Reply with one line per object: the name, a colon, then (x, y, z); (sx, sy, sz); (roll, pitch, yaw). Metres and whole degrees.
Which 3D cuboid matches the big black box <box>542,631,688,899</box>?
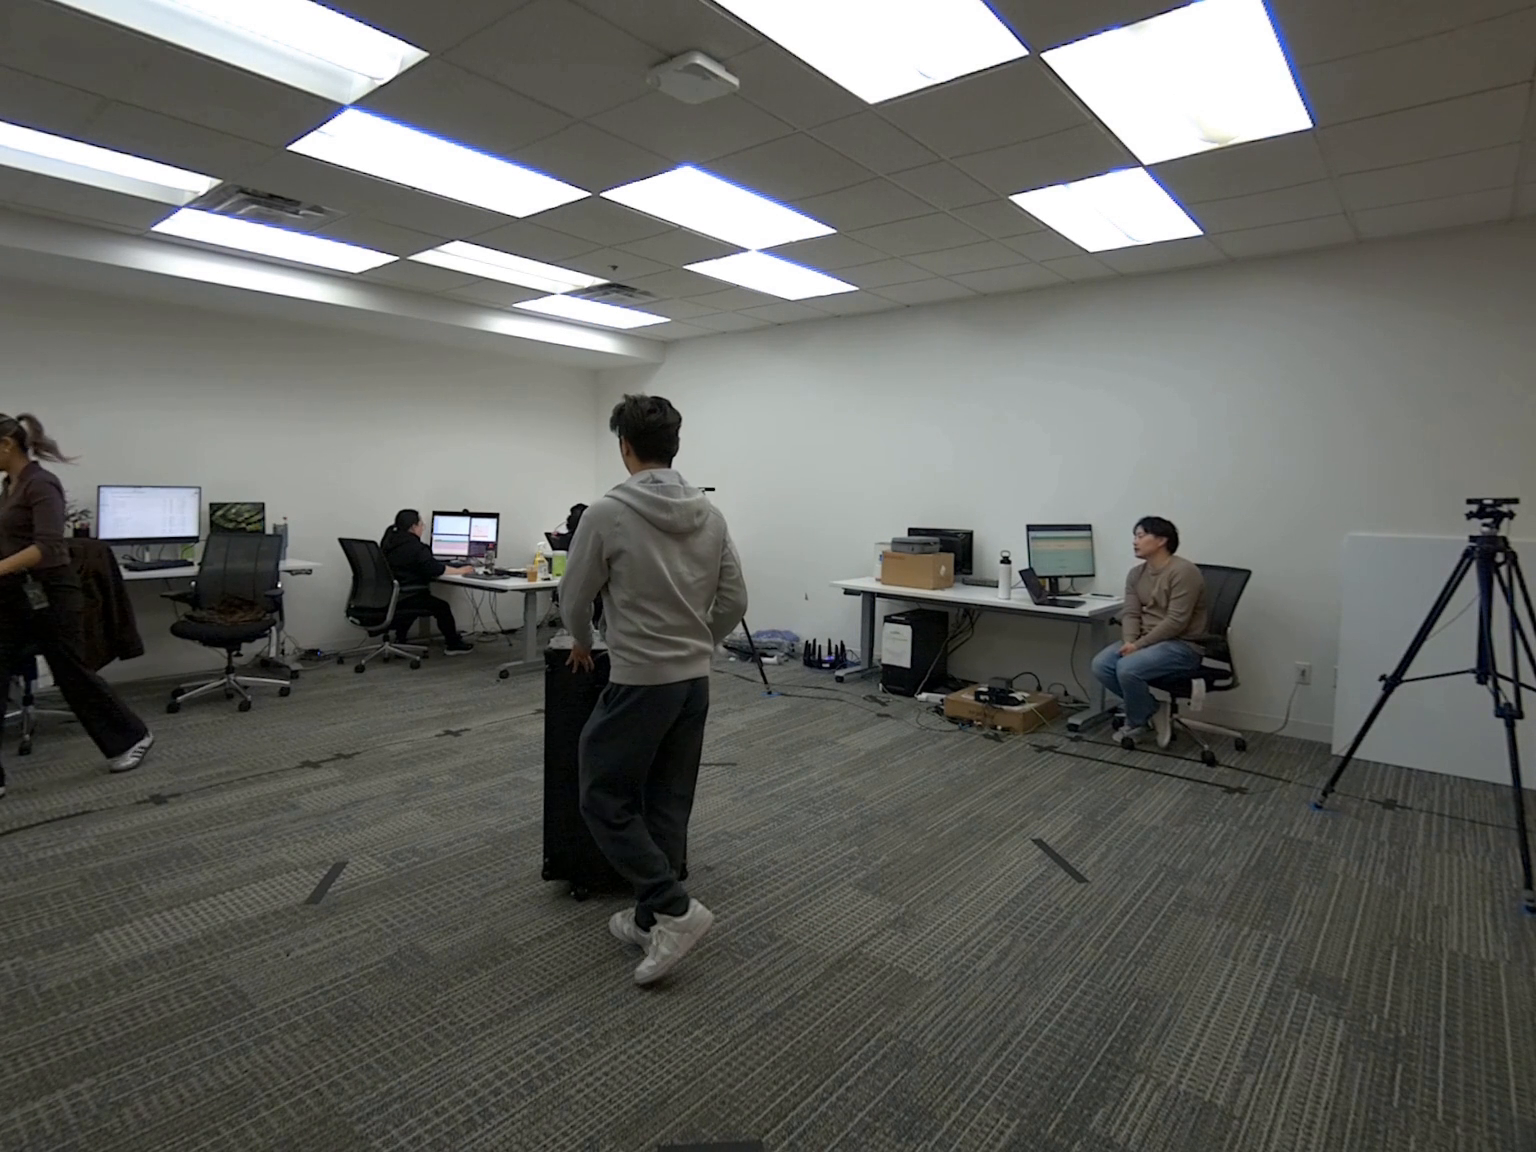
big black box: (-0.530, 0.646, 2.986); (0.518, 0.859, 0.400); (2, 3, -6)
